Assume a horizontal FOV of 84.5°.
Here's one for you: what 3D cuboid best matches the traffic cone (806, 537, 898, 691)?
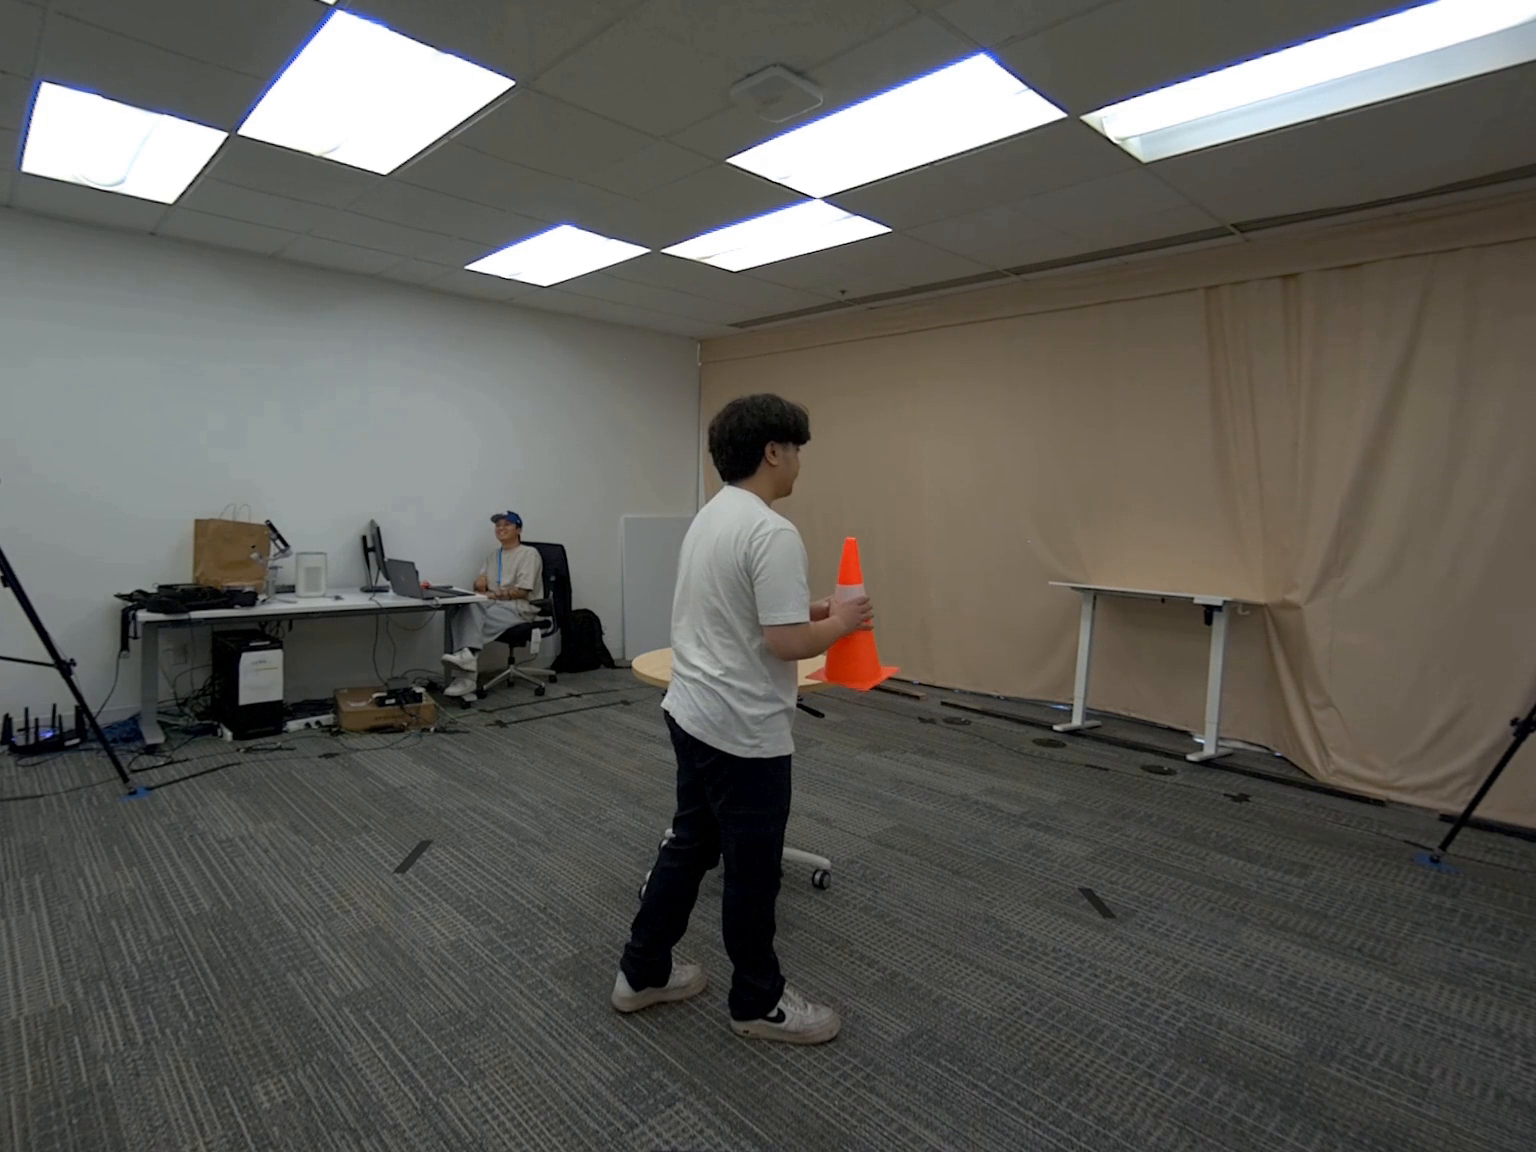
[{"bbox_3d":[0.225,0.086,2.305,0.208,0.382,0.201,5,6,36],"label":"traffic cone"}]
